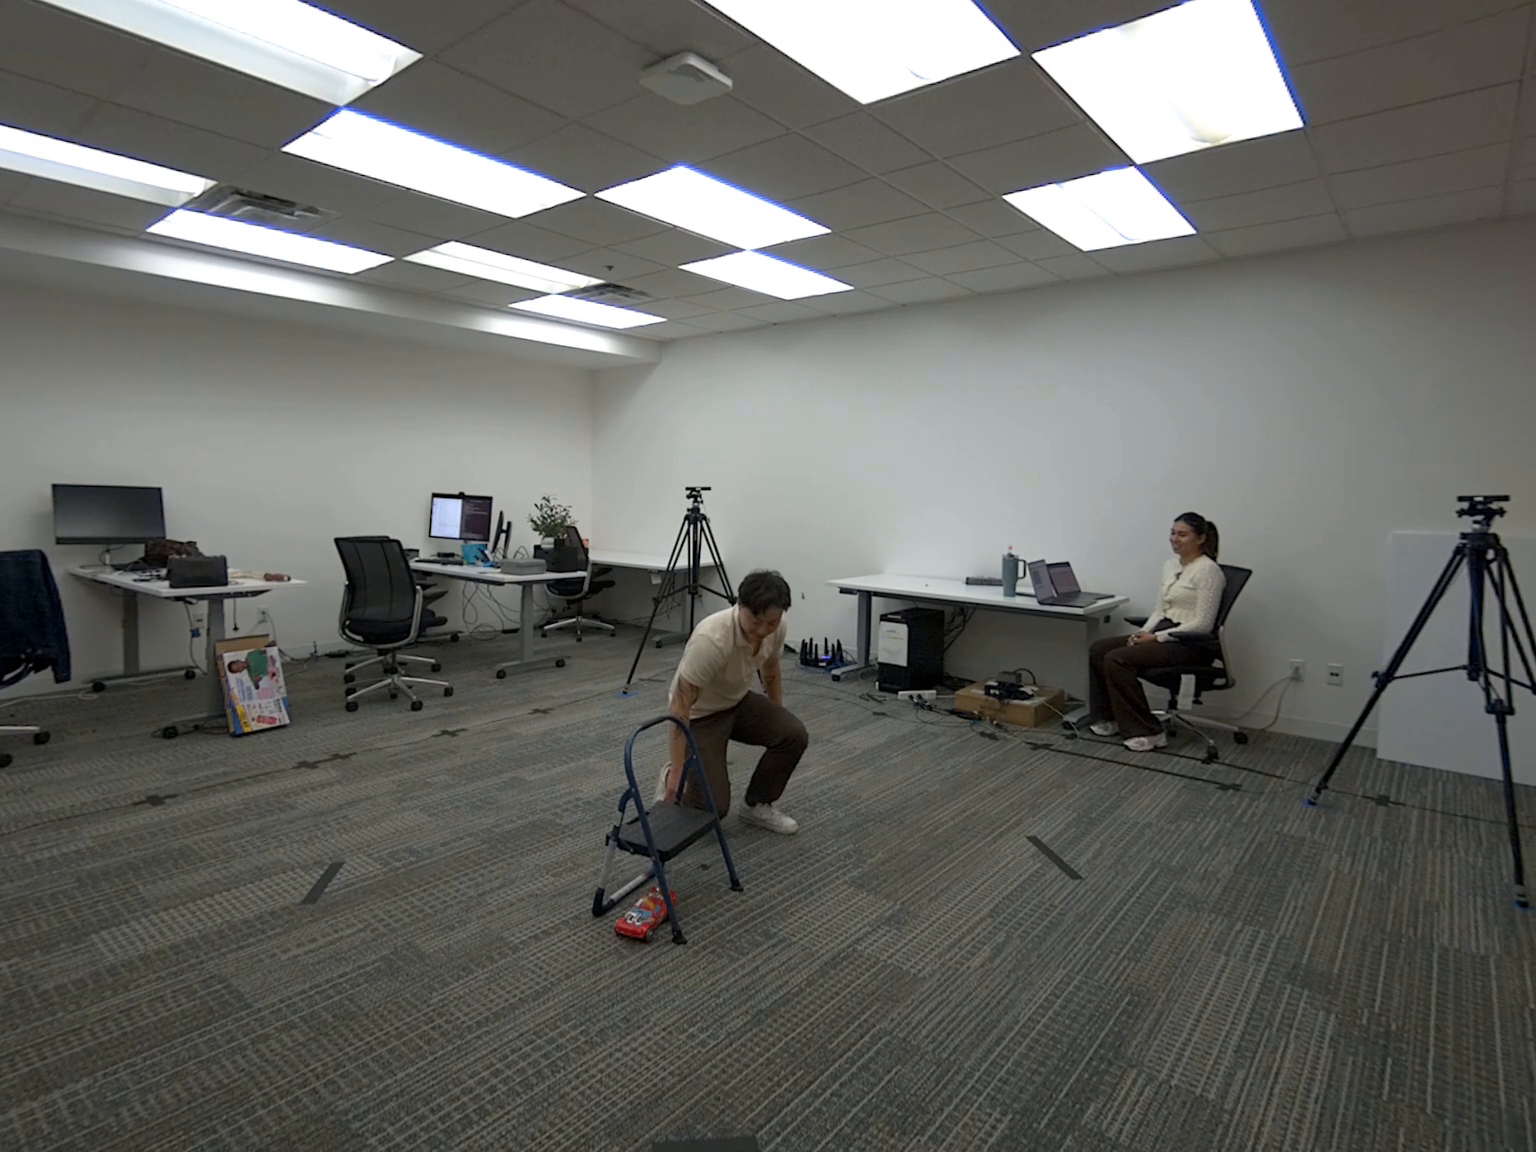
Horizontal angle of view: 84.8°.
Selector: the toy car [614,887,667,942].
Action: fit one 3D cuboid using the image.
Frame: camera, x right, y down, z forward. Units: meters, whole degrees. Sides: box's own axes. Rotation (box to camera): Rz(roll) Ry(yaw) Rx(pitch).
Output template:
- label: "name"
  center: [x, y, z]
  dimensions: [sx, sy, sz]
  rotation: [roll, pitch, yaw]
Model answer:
- label: "toy car"
  center: [-0.393, 1.070, 2.703]
  dimensions: [0.133, 0.082, 0.252]
  rotation: [2, 17, 22]
